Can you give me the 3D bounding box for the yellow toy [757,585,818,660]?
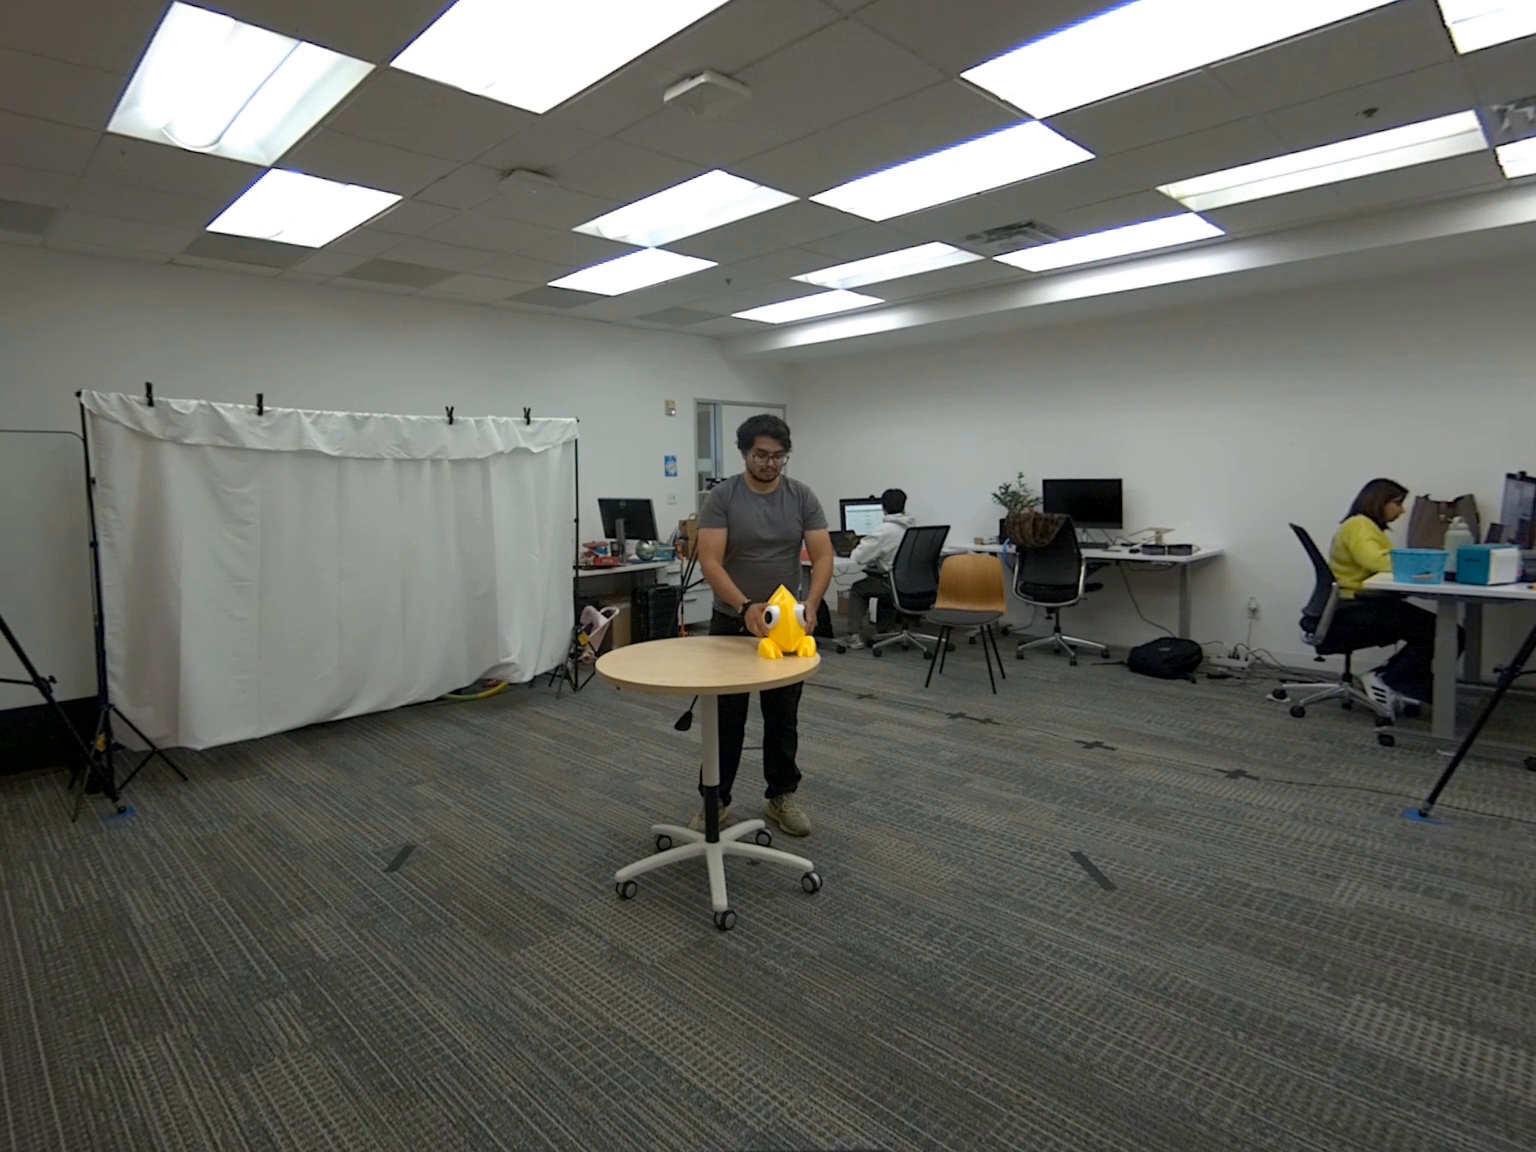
[{"bbox_3d":[0.062,0.156,2.978,0.203,0.229,0.195,-4,6,-9],"label":"yellow toy"}]
